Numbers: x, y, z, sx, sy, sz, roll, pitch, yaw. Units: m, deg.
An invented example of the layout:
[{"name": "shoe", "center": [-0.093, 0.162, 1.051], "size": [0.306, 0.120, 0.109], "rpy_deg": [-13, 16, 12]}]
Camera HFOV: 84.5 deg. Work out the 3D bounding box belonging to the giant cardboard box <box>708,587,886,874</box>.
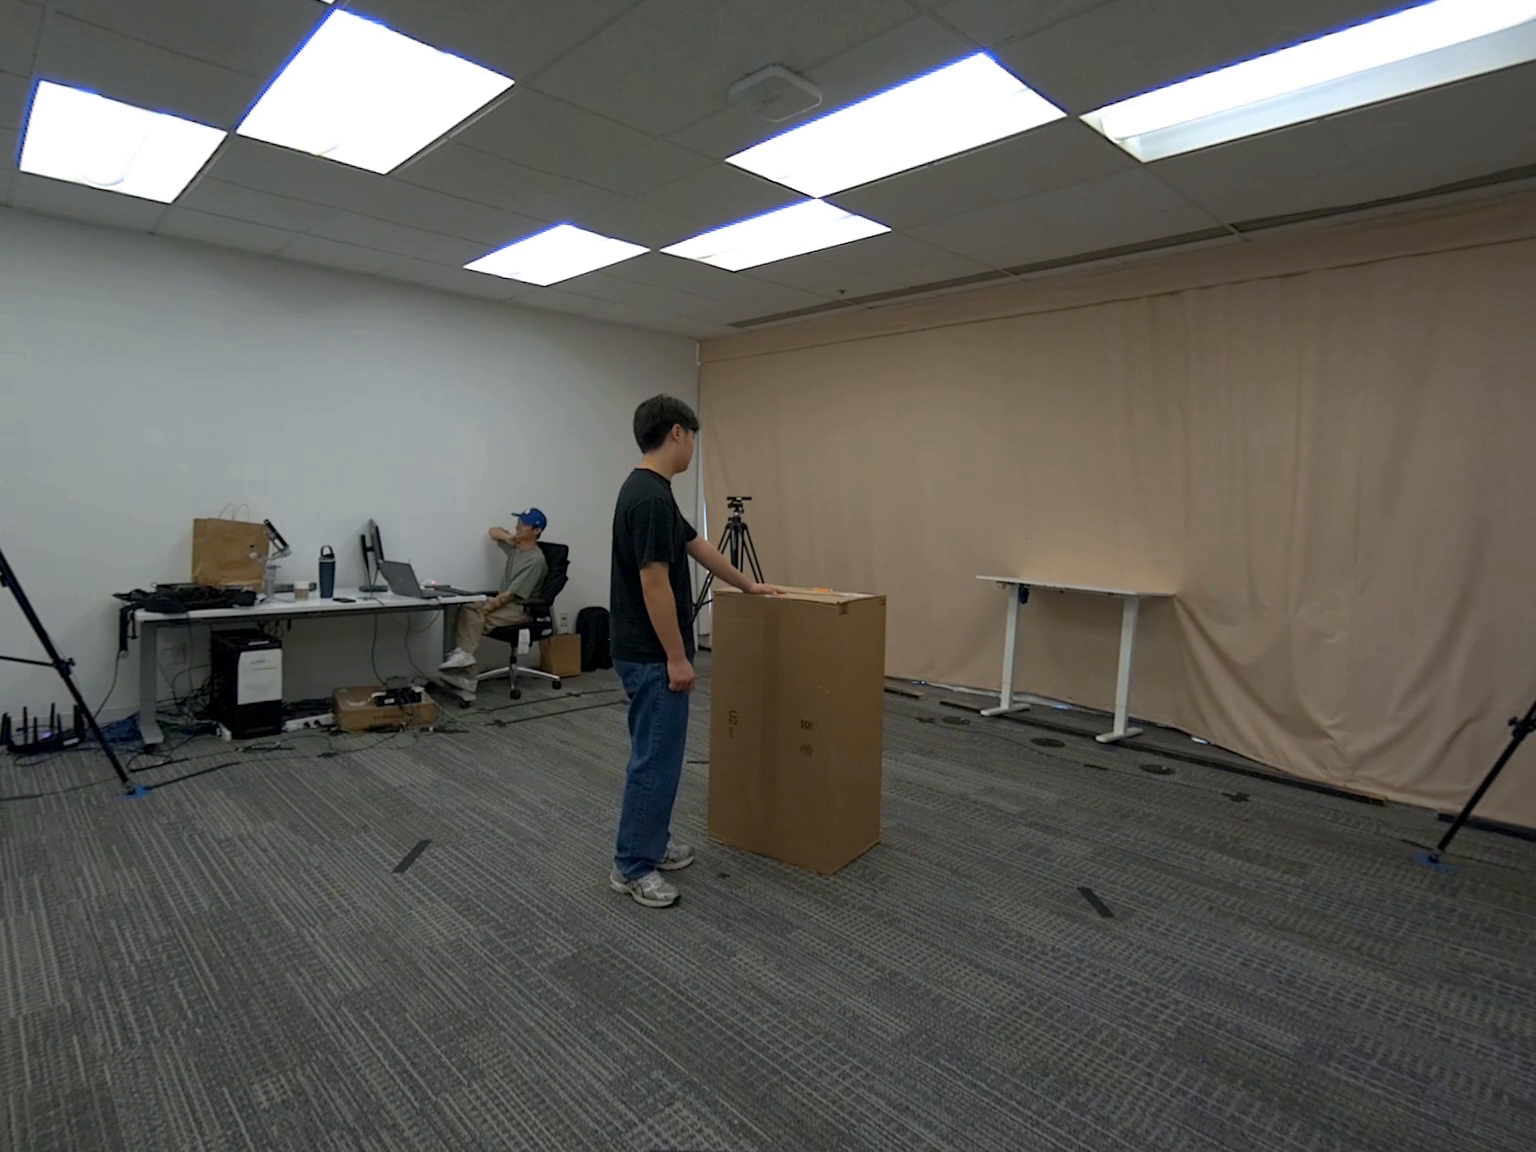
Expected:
[{"name": "giant cardboard box", "center": [0.116, 0.573, 3.431], "size": [0.598, 1.025, 0.437], "rpy_deg": [4, 3, 35]}]
